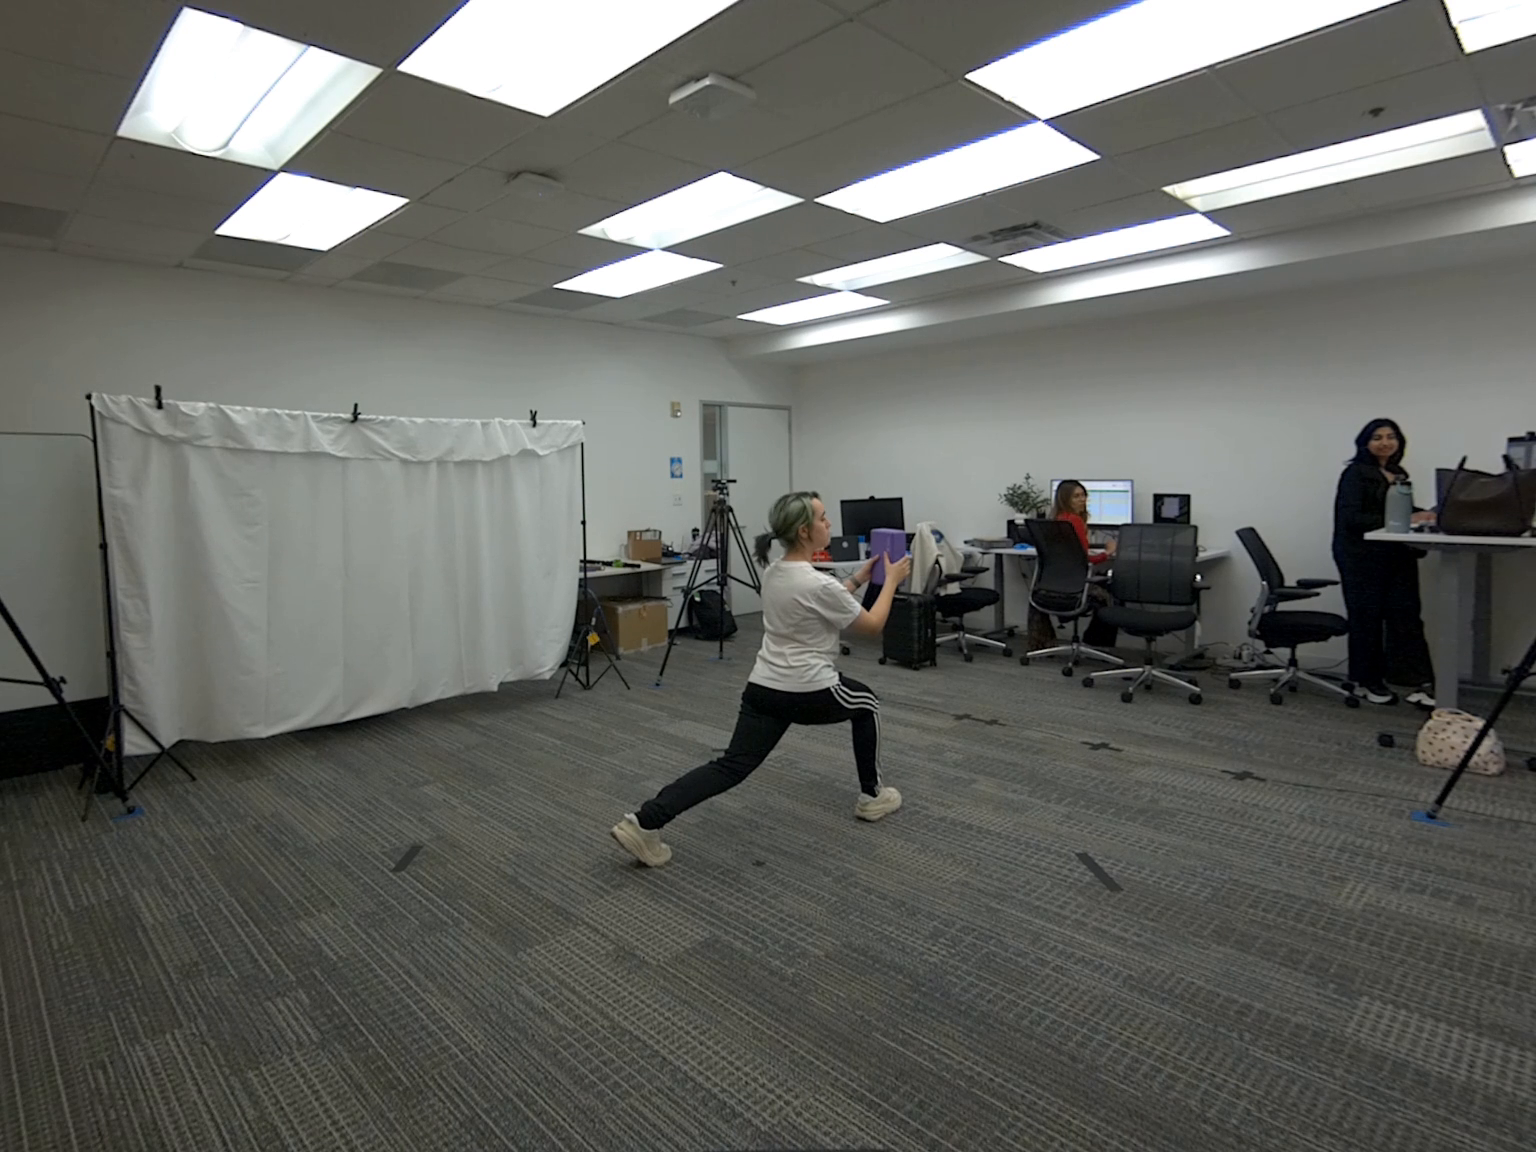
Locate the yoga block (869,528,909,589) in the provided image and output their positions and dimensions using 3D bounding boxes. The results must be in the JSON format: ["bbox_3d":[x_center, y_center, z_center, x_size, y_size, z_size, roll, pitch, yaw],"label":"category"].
[{"bbox_3d":[0.504,-0.077,3.564,0.075,0.228,0.153,-4,7,-30],"label":"yoga block"}]
